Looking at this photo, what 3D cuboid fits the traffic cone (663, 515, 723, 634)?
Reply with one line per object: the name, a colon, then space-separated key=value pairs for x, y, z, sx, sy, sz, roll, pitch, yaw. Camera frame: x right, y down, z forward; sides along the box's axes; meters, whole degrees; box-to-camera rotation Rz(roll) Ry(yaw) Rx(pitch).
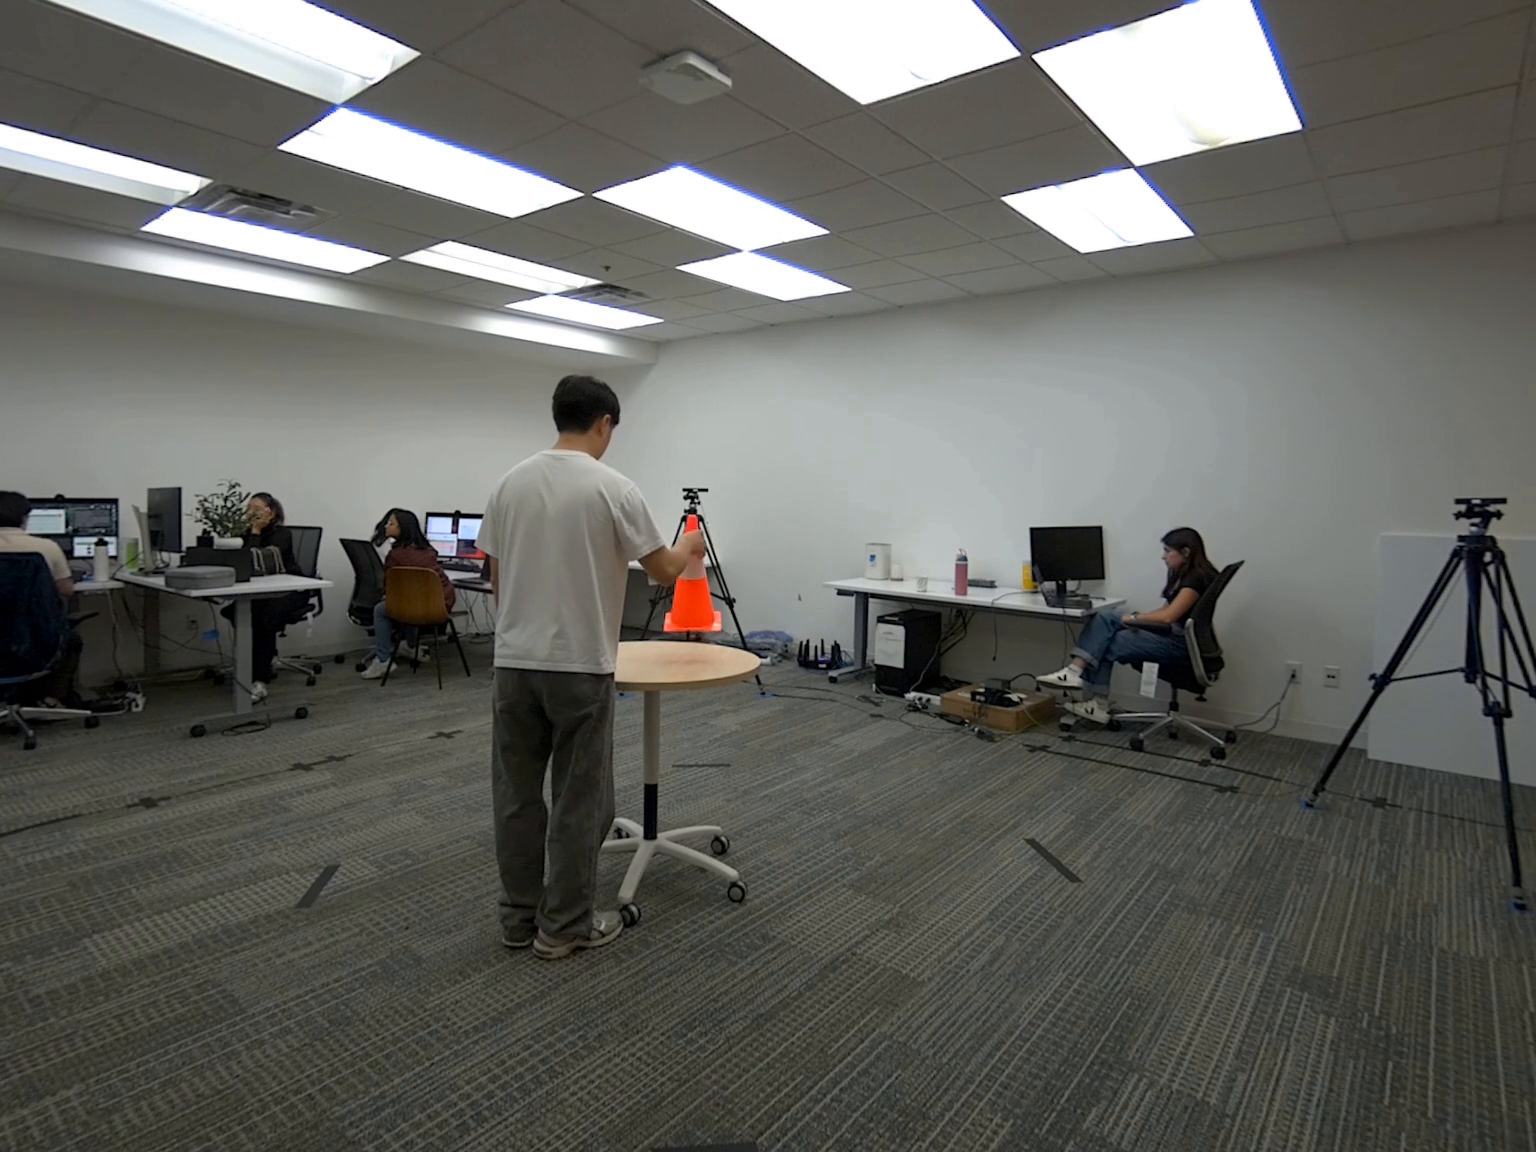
traffic cone: x=-0.261 y=-0.015 z=2.963 sx=0.205 sy=0.379 sz=0.205 roll=3 pitch=13 yaw=1
